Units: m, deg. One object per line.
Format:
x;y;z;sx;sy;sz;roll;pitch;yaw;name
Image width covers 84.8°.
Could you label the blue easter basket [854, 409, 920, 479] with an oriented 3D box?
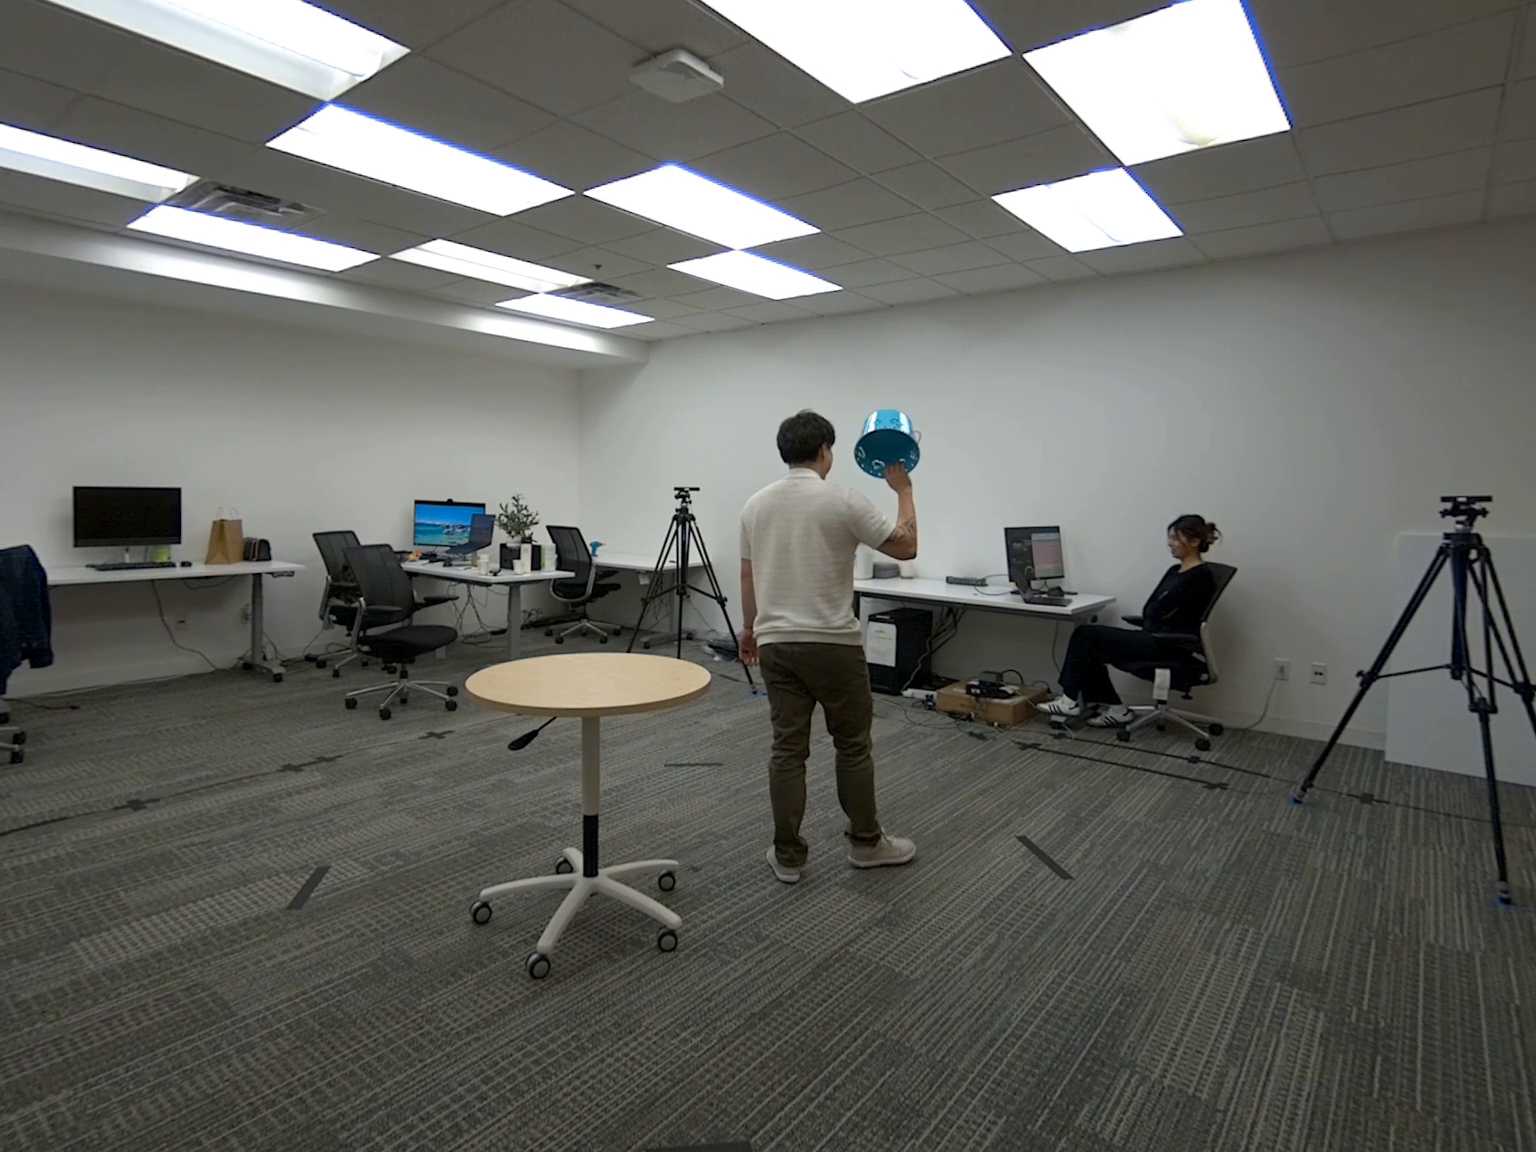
0.430;-0.488;3.110;0.247;0.235;0.159;2;45;11;blue easter basket
